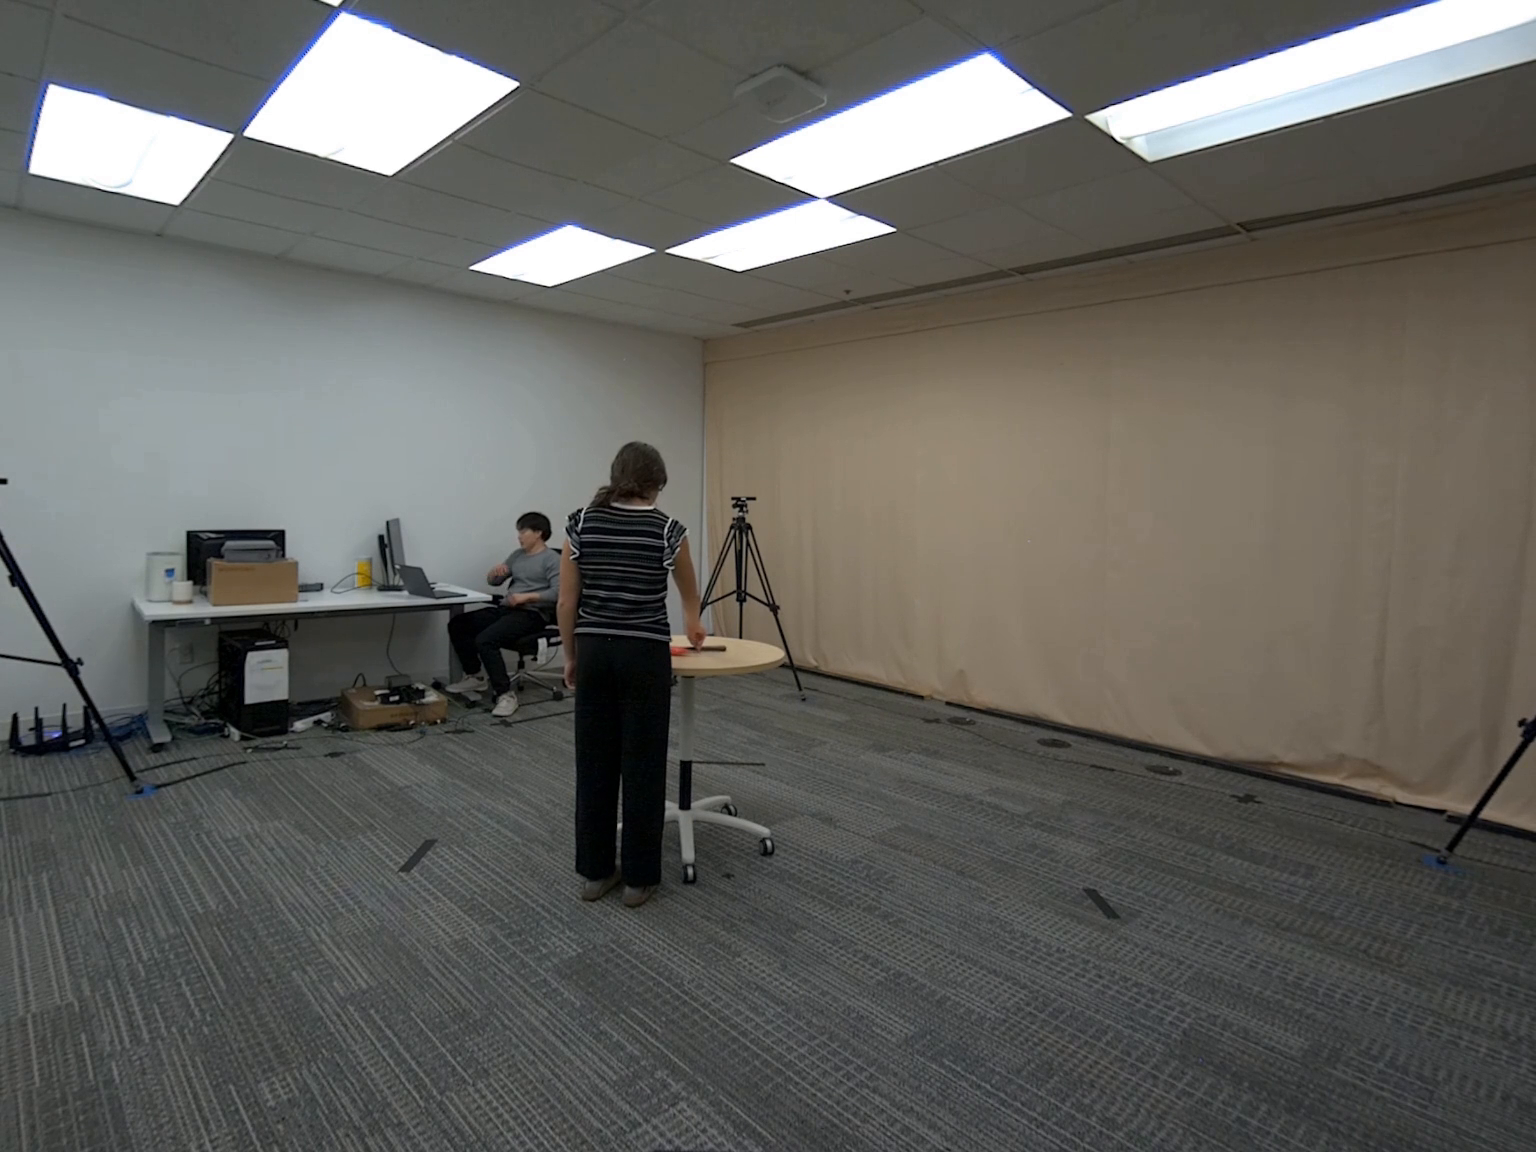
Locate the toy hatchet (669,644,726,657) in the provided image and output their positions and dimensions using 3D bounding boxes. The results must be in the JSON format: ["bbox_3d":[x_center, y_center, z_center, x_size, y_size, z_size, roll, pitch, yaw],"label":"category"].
[{"bbox_3d":[-0.298,0.289,3.288,0.267,0.029,0.132,1,0,-14],"label":"toy hatchet"}]
